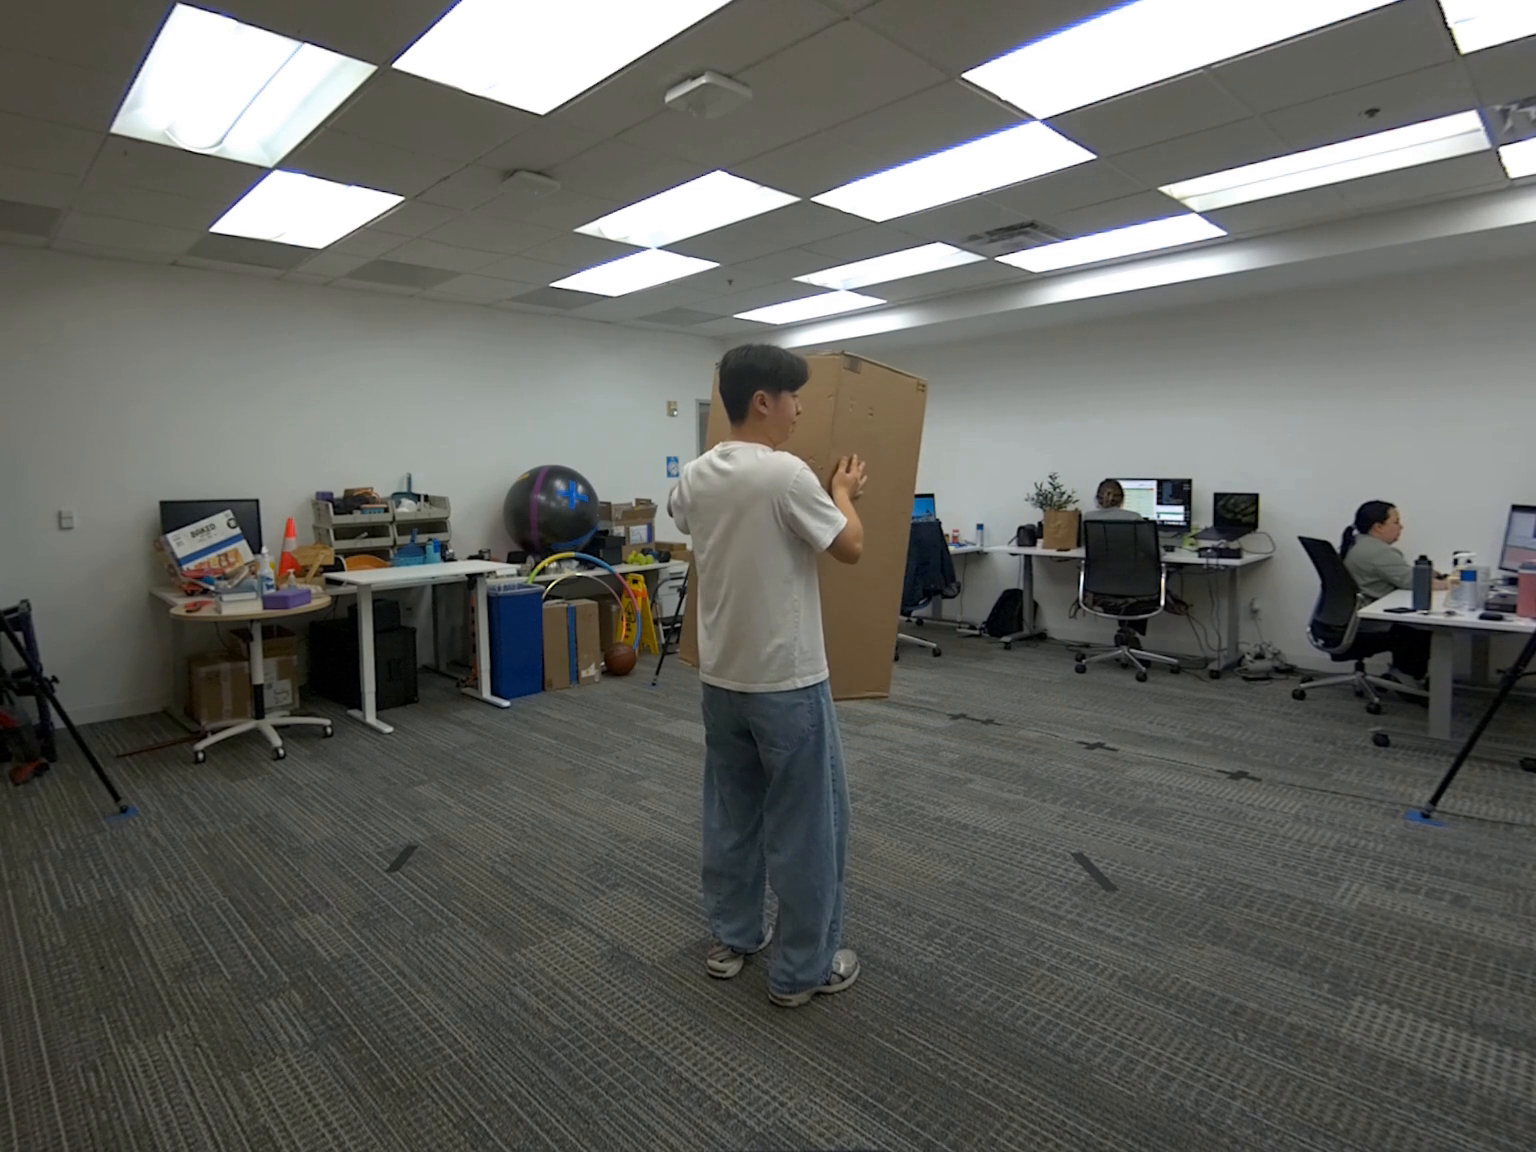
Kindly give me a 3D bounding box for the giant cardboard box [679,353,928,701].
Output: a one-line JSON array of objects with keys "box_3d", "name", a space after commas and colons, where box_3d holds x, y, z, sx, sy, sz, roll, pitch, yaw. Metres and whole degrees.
[{"box_3d": [0.119, -0.162, 2.798, 0.413, 1.025, 0.596, 7, 1, -43], "name": "giant cardboard box"}]
